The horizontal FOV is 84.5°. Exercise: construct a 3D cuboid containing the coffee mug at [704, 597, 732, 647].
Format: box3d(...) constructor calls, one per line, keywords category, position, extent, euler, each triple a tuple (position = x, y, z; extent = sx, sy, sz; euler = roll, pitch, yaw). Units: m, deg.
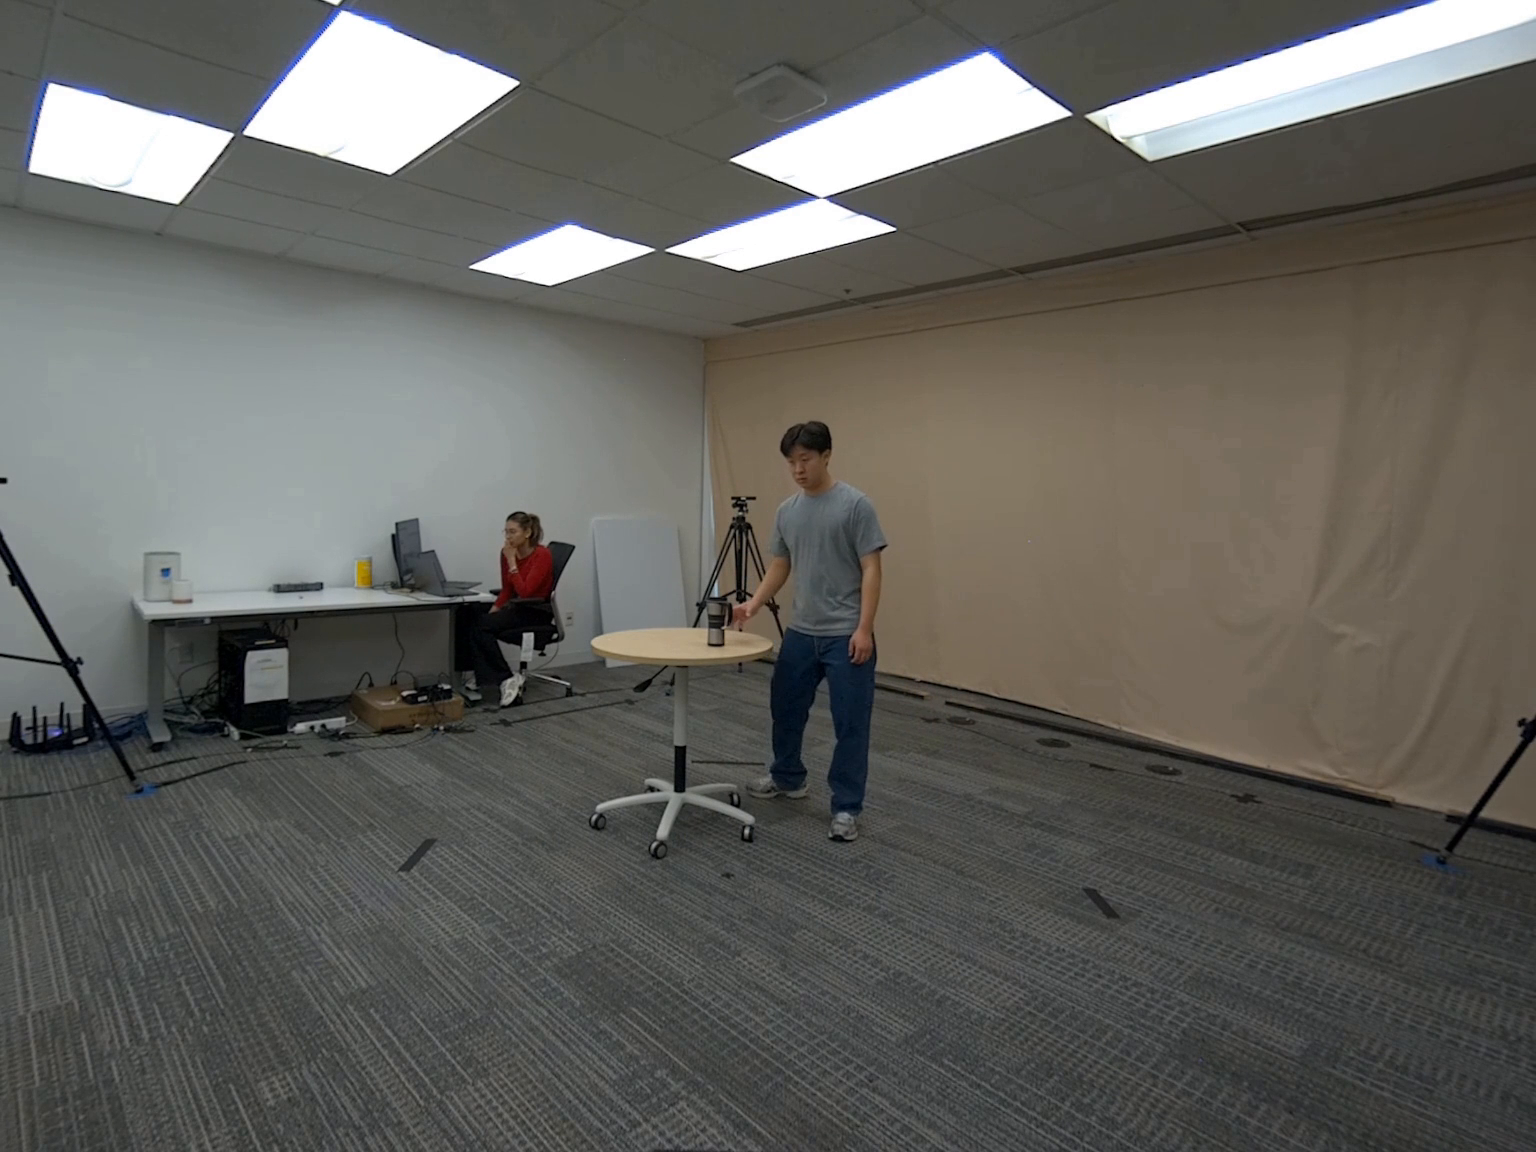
box3d(category="coffee mug", position=(-0.210, 0.188, 3.455), extent=(0.086, 0.203, 0.124), euler=(4, -1, -22))
